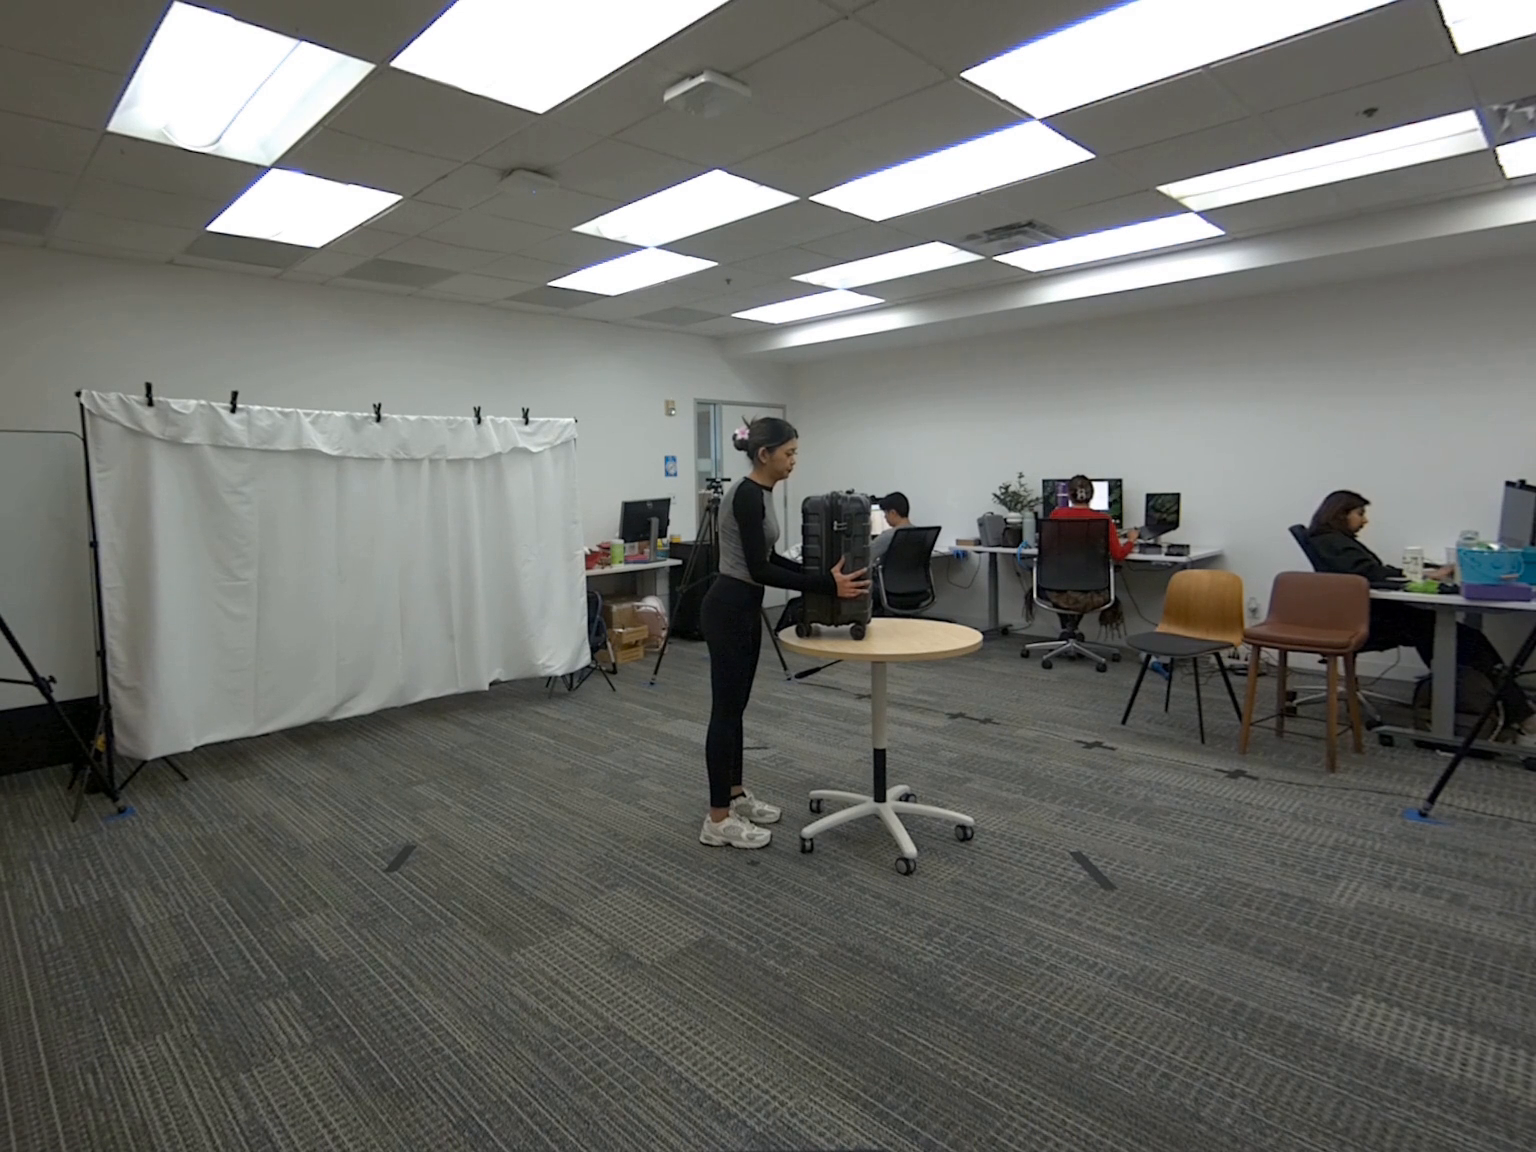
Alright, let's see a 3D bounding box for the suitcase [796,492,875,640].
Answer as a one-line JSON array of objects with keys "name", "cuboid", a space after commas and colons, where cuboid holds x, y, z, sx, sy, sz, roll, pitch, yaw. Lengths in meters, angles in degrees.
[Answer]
[{"name": "suitcase", "cuboid": [0.266, -0.060, 3.300, 0.251, 0.547, 0.373, 1, 5, 10]}]
